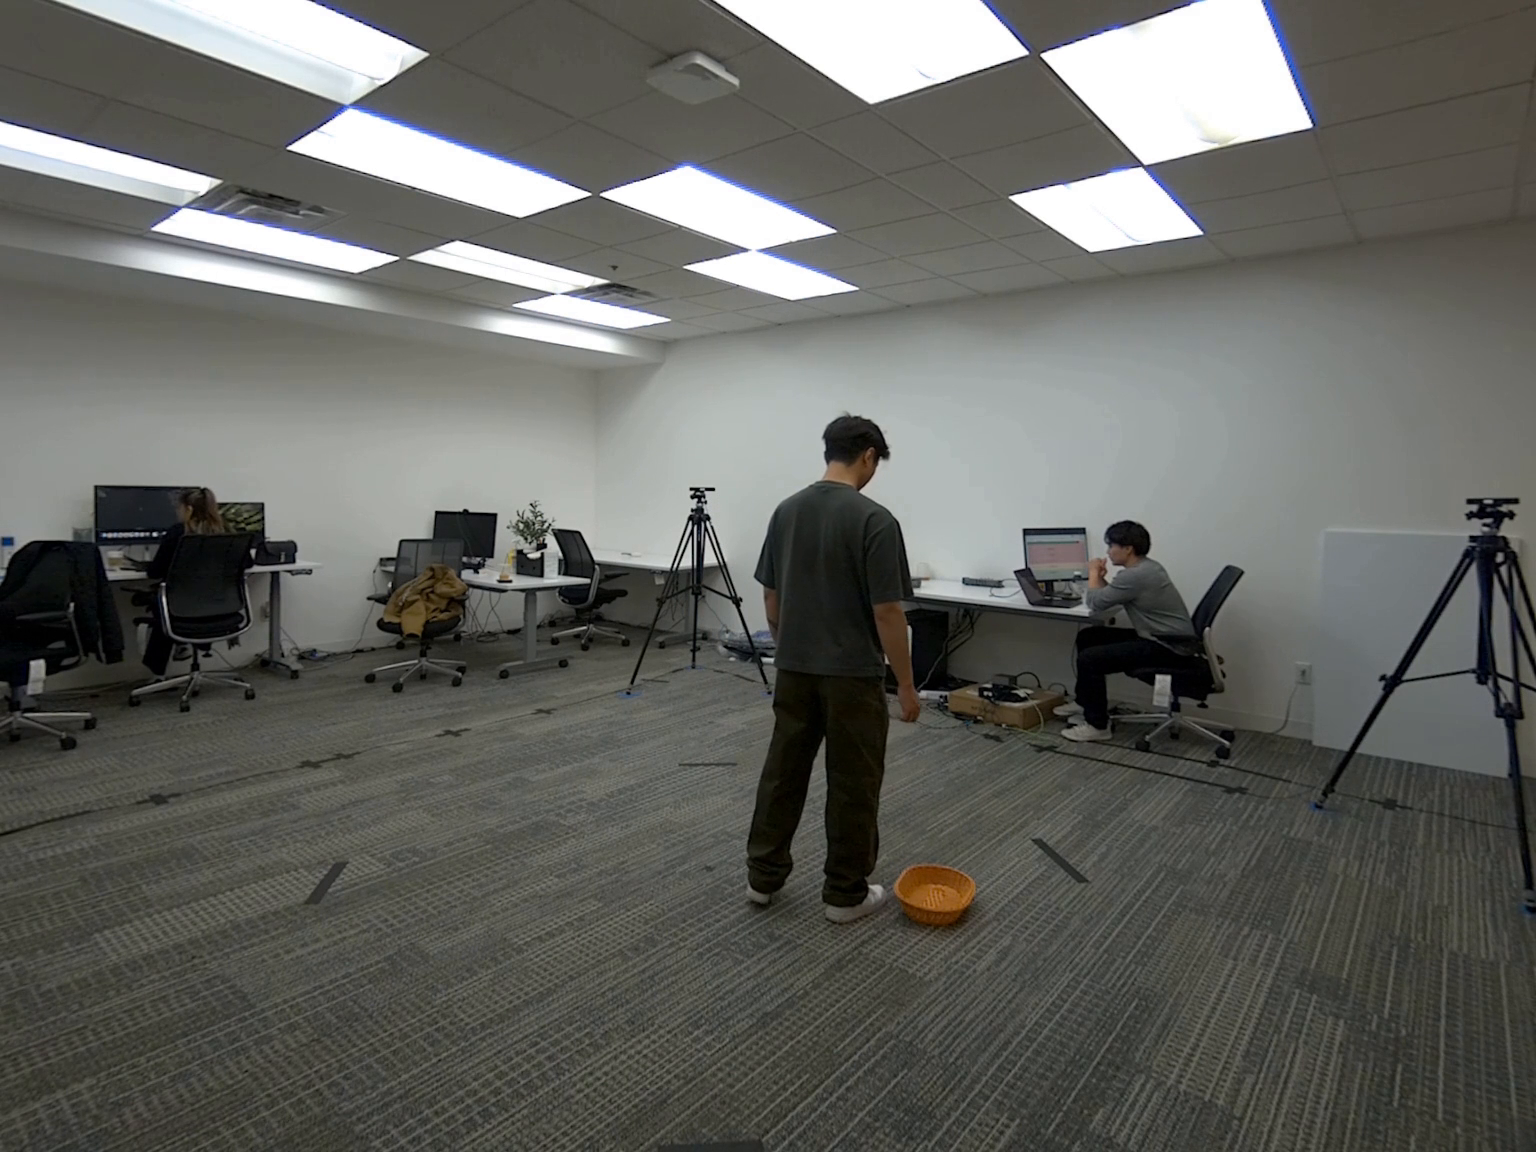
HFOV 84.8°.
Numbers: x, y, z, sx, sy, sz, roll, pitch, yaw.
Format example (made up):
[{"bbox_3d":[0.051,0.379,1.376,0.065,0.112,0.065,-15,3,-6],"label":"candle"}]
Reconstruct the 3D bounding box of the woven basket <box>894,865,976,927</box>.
[{"bbox_3d":[0.554,1.075,2.863,0.260,0.073,0.342,5,7,29],"label":"woven basket"}]
